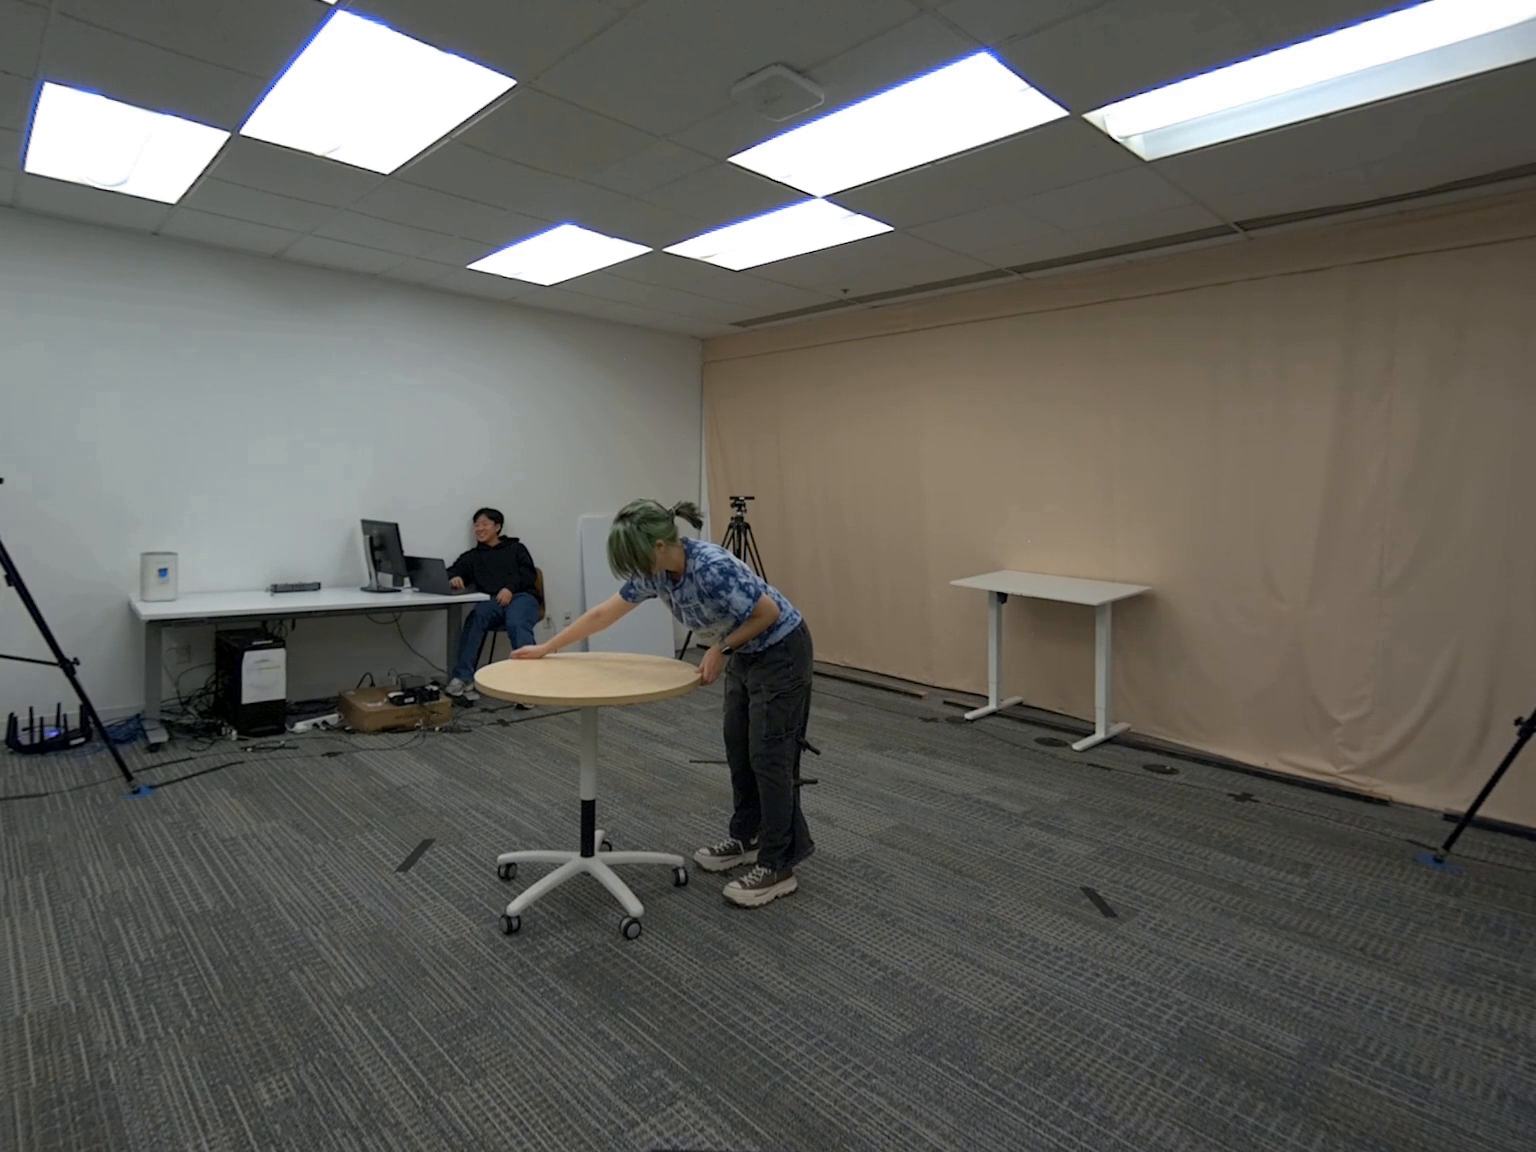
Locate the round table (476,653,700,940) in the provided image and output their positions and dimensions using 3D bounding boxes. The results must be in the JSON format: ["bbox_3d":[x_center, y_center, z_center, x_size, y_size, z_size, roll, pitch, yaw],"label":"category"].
[{"bbox_3d":[-0.629,0.723,2.907,0.763,0.792,0.766,1,4,-1],"label":"round table"}]
